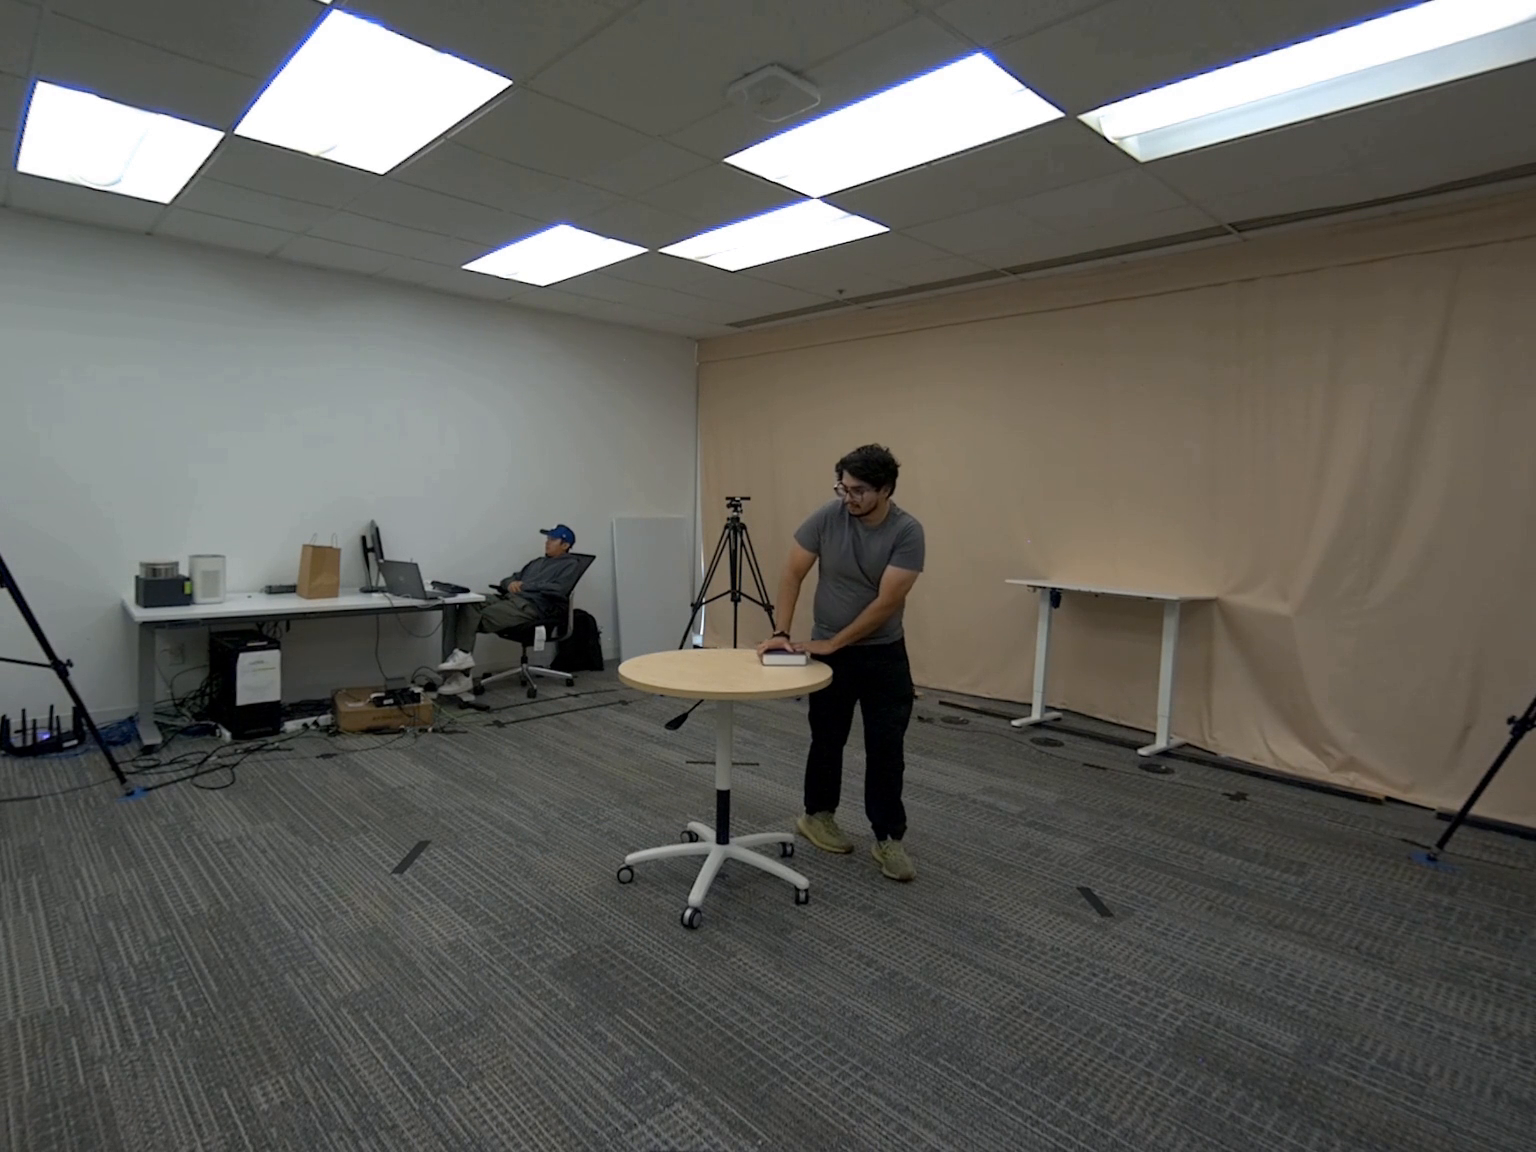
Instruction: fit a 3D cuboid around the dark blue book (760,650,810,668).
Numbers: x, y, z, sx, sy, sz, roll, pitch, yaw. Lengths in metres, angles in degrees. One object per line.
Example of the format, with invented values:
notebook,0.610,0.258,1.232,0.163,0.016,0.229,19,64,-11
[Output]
dark blue book,0.051,0.299,3.190,0.163,0.045,0.246,1,5,-3
